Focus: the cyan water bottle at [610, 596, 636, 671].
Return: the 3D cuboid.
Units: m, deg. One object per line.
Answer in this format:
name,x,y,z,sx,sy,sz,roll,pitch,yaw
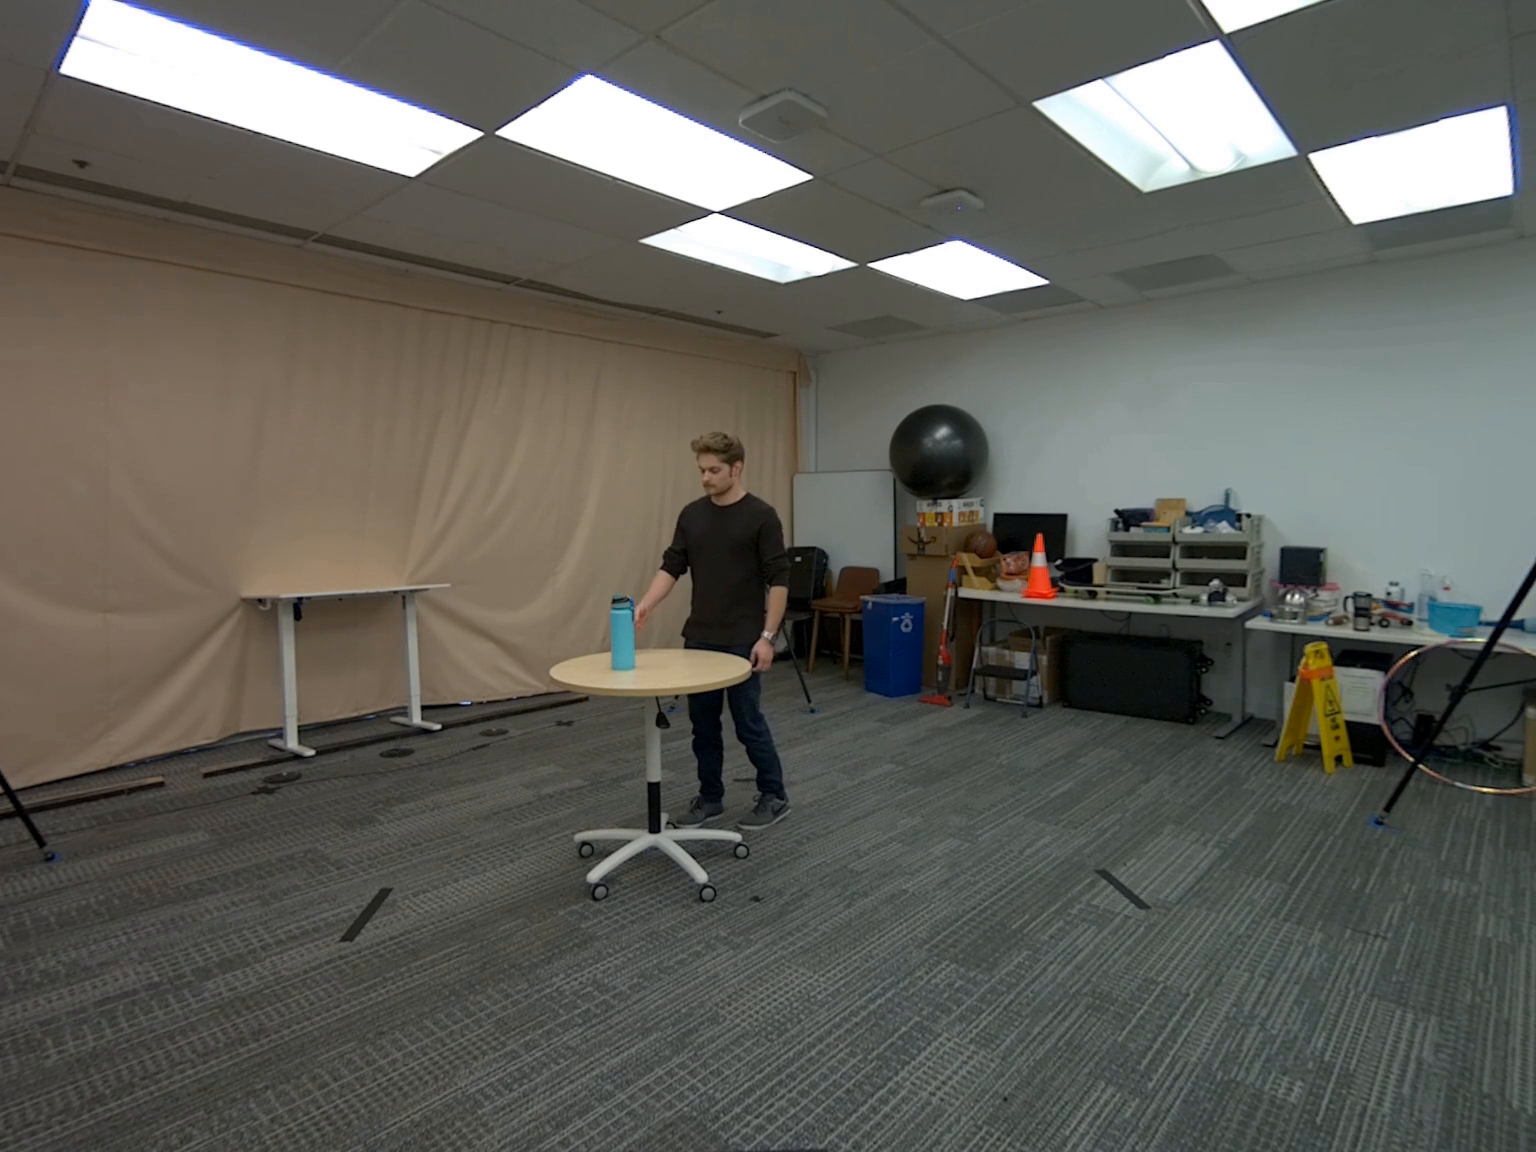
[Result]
cyan water bottle,-0.556,0.211,3.187,0.092,0.283,0.092,0,3,-2
